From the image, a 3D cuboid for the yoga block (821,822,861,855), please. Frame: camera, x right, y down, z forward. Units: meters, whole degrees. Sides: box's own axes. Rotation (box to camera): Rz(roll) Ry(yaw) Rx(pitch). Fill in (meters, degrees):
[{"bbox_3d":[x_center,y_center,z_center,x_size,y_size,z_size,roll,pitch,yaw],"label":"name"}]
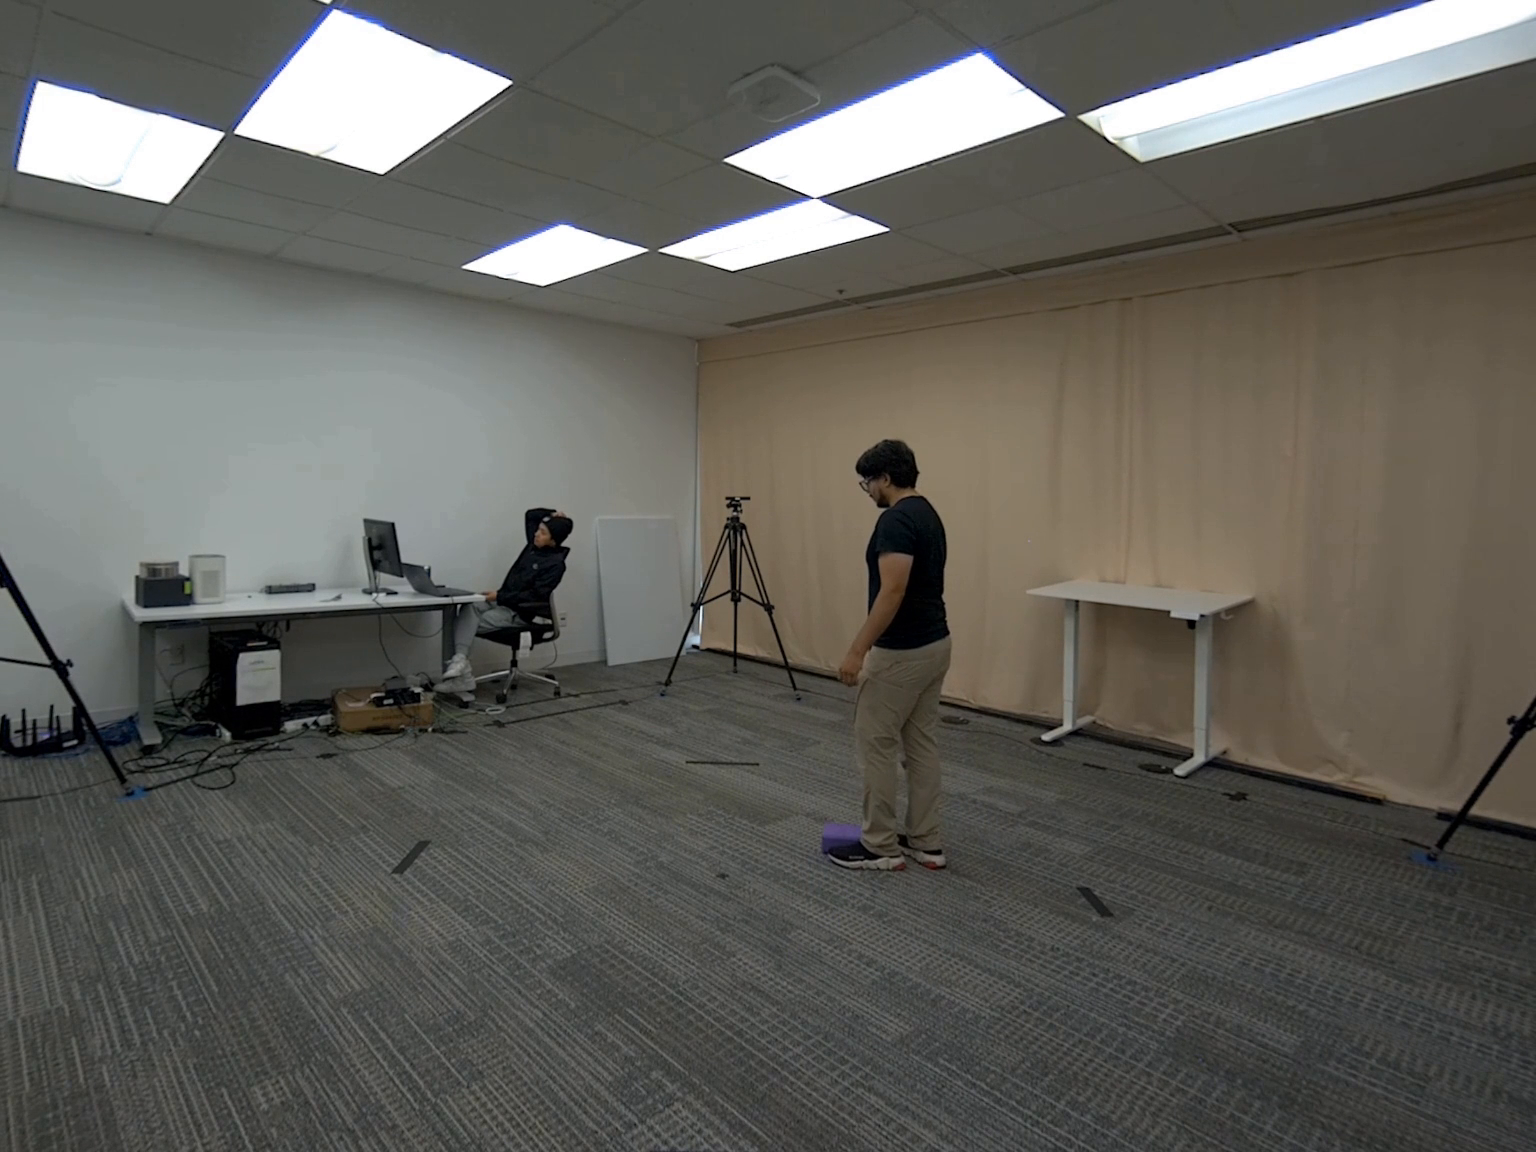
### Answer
[{"bbox_3d":[0.330,1.047,3.360,0.231,0.076,0.148,2,6,9],"label":"yoga block"}]
